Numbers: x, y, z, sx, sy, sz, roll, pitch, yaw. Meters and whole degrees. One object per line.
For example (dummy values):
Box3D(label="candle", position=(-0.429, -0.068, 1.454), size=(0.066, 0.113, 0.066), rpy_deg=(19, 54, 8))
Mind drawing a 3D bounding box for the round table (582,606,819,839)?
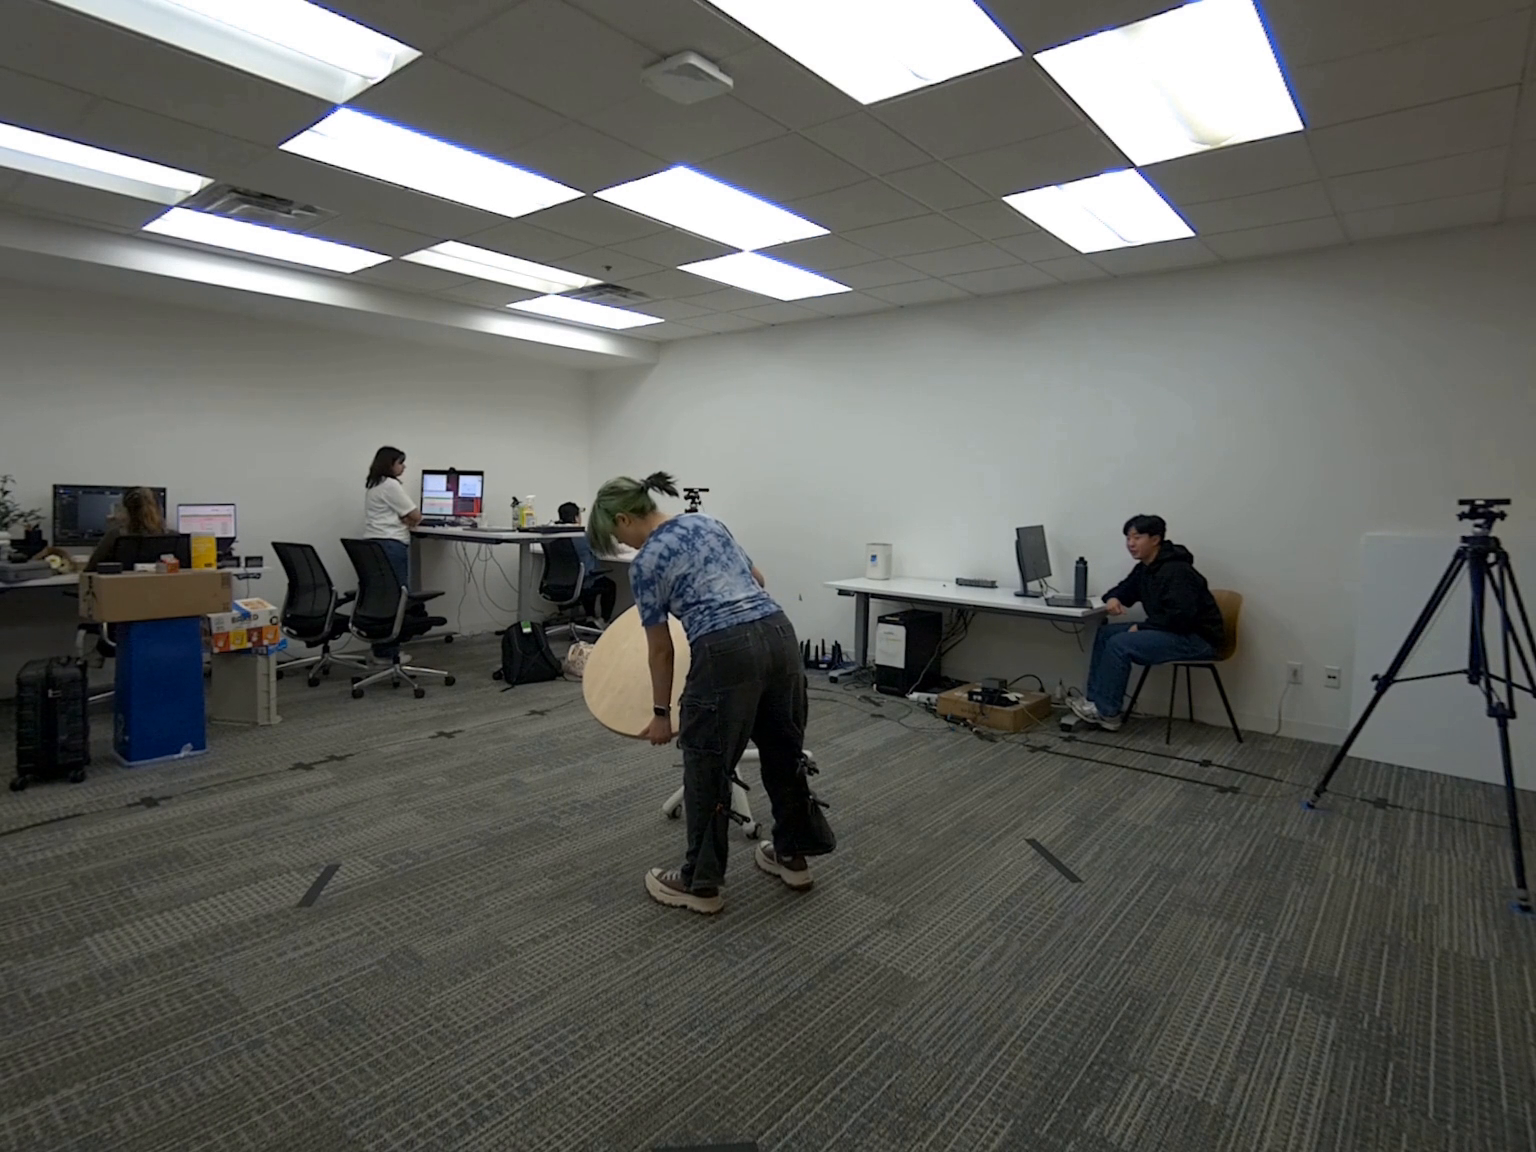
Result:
Box3D(label="round table", position=(-0.255, 0.571, 3.449), size=(0.770, 0.765, 0.786), rpy_deg=(-14, 37, 9))
